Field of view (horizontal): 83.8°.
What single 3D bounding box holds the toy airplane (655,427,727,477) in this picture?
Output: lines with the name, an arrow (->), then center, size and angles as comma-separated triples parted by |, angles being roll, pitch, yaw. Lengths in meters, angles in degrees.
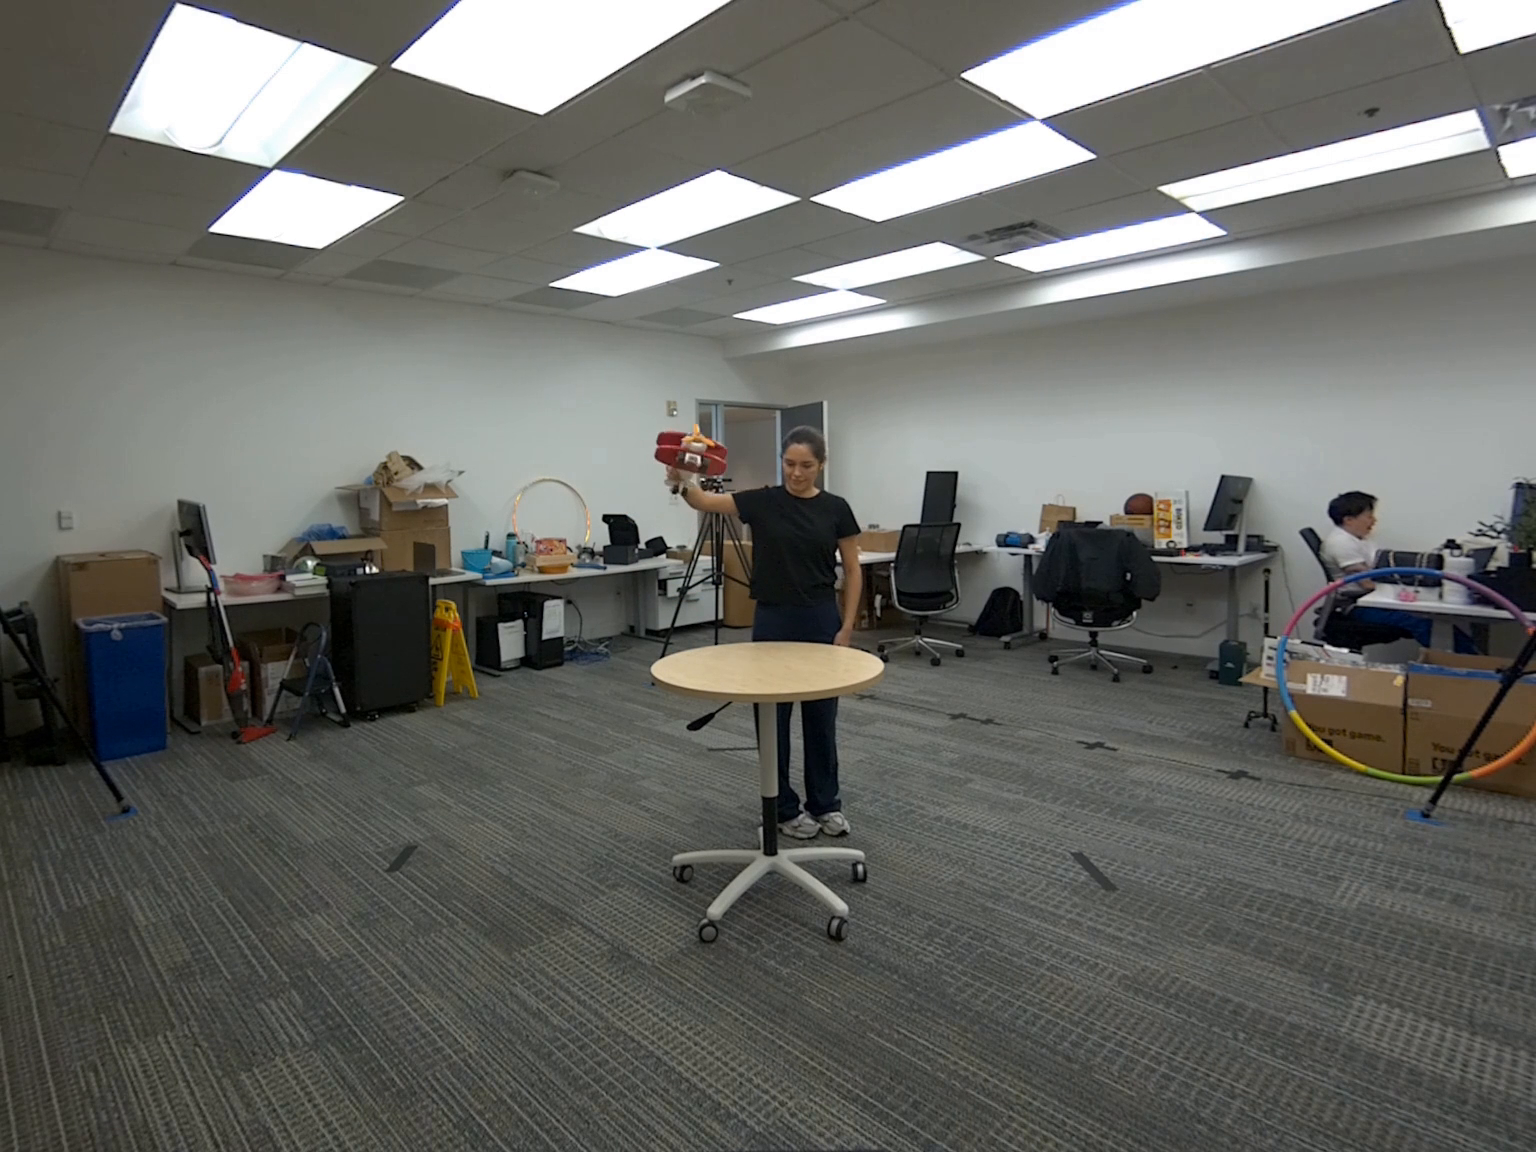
toy airplane -> -0.301, -0.393, 3.056 | 0.242, 0.159, 0.263 | 29, -35, -35
